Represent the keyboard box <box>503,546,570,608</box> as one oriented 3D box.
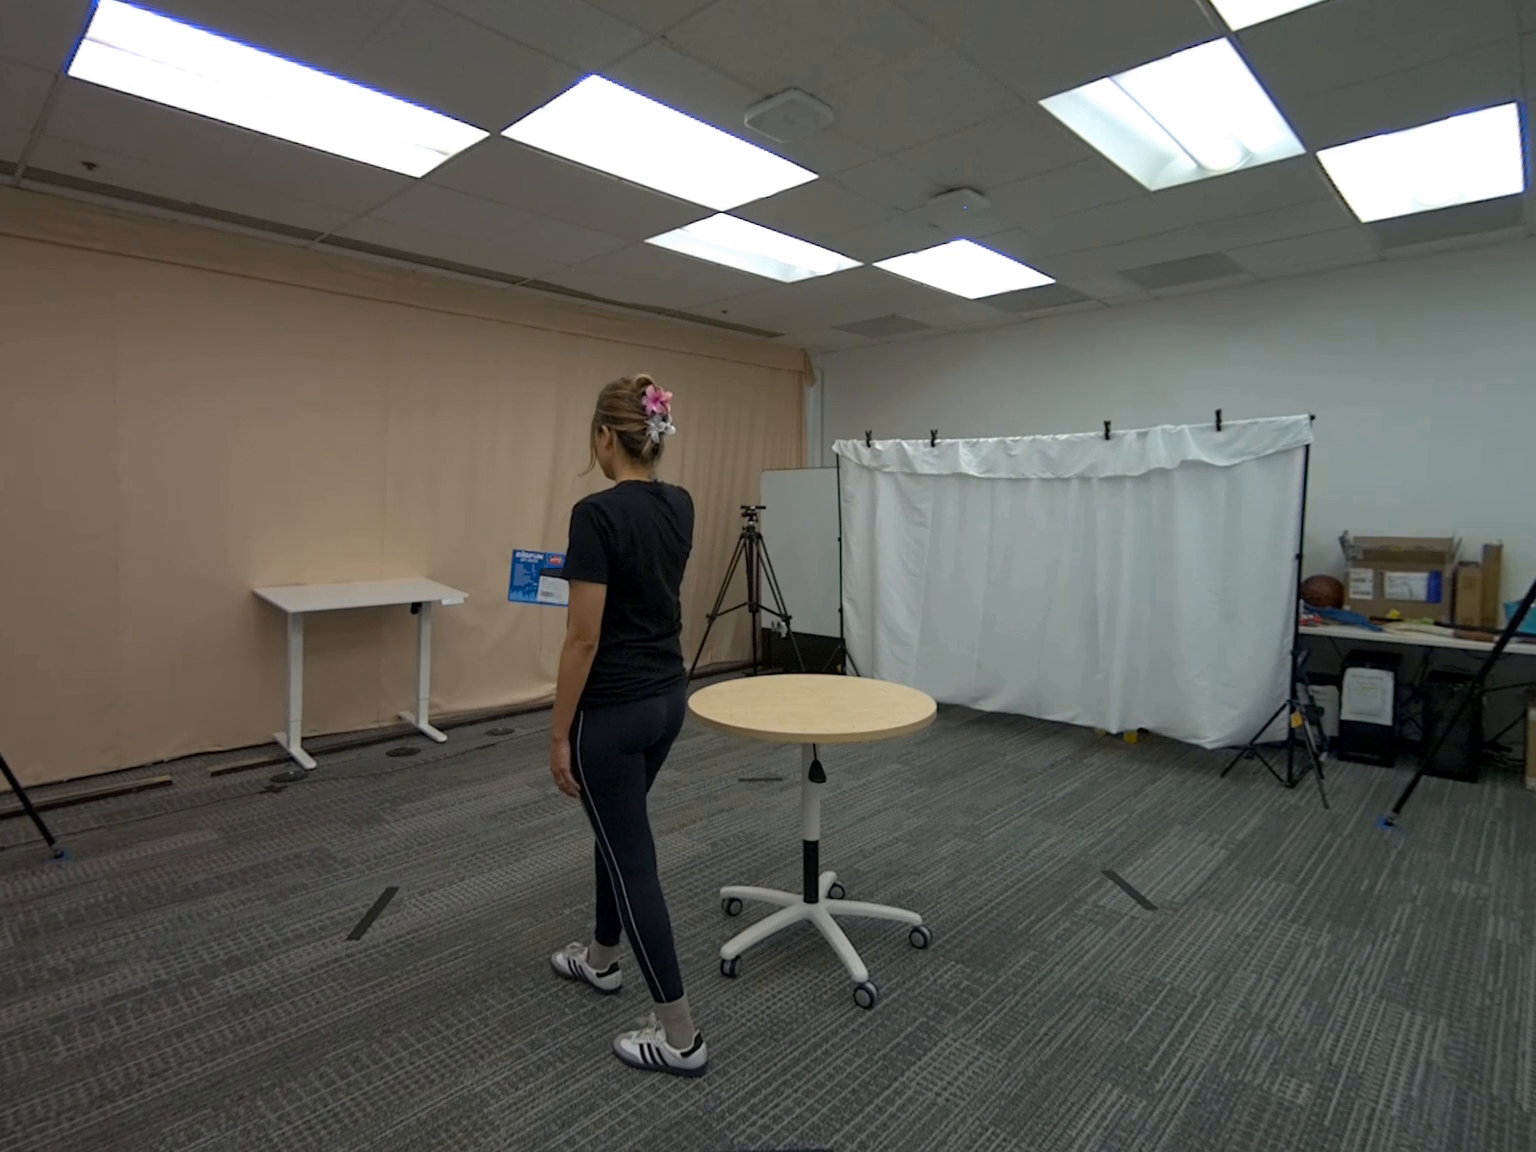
[{"bbox_3d":[-0.636,0.012,2.783,0.435,0.176,0.059,6,1,-4],"label":"keyboard box"}]
